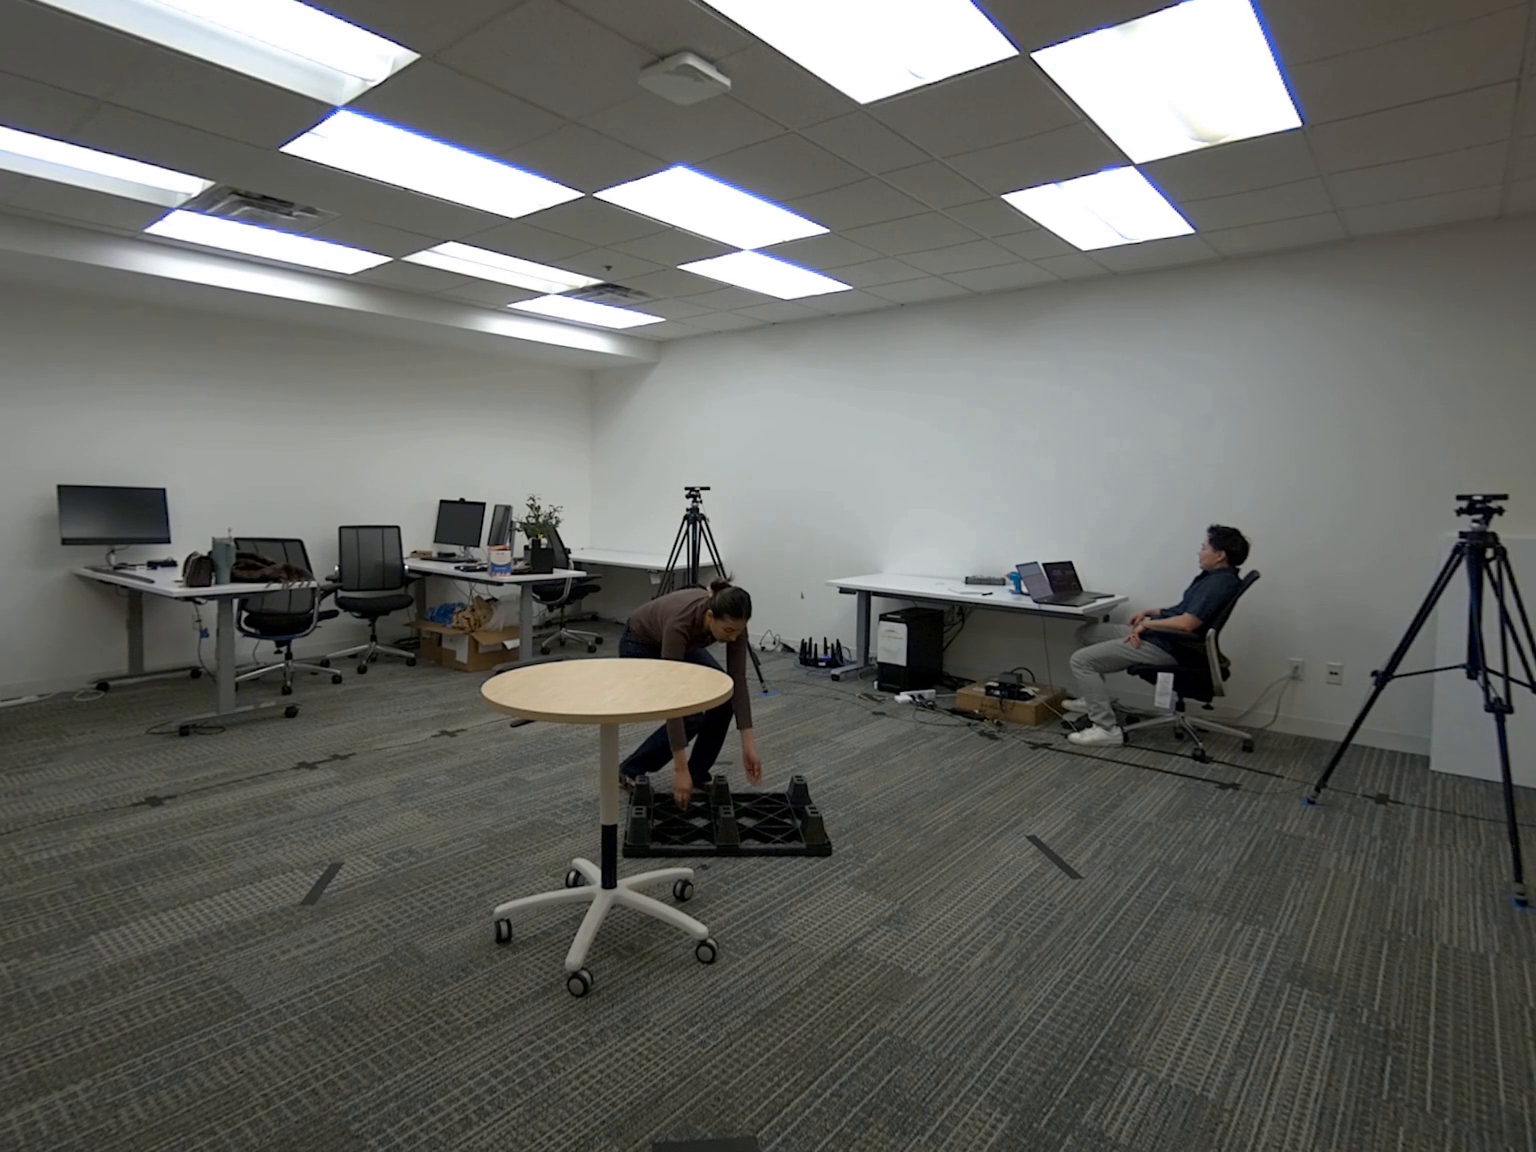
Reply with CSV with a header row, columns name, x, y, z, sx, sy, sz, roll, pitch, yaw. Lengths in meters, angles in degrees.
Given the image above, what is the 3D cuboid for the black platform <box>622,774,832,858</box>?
name,x,y,z,sx,sy,sz,roll,pitch,yaw
black platform,-0.185,0.960,3.500,0.802,0.143,0.611,0,6,-5
